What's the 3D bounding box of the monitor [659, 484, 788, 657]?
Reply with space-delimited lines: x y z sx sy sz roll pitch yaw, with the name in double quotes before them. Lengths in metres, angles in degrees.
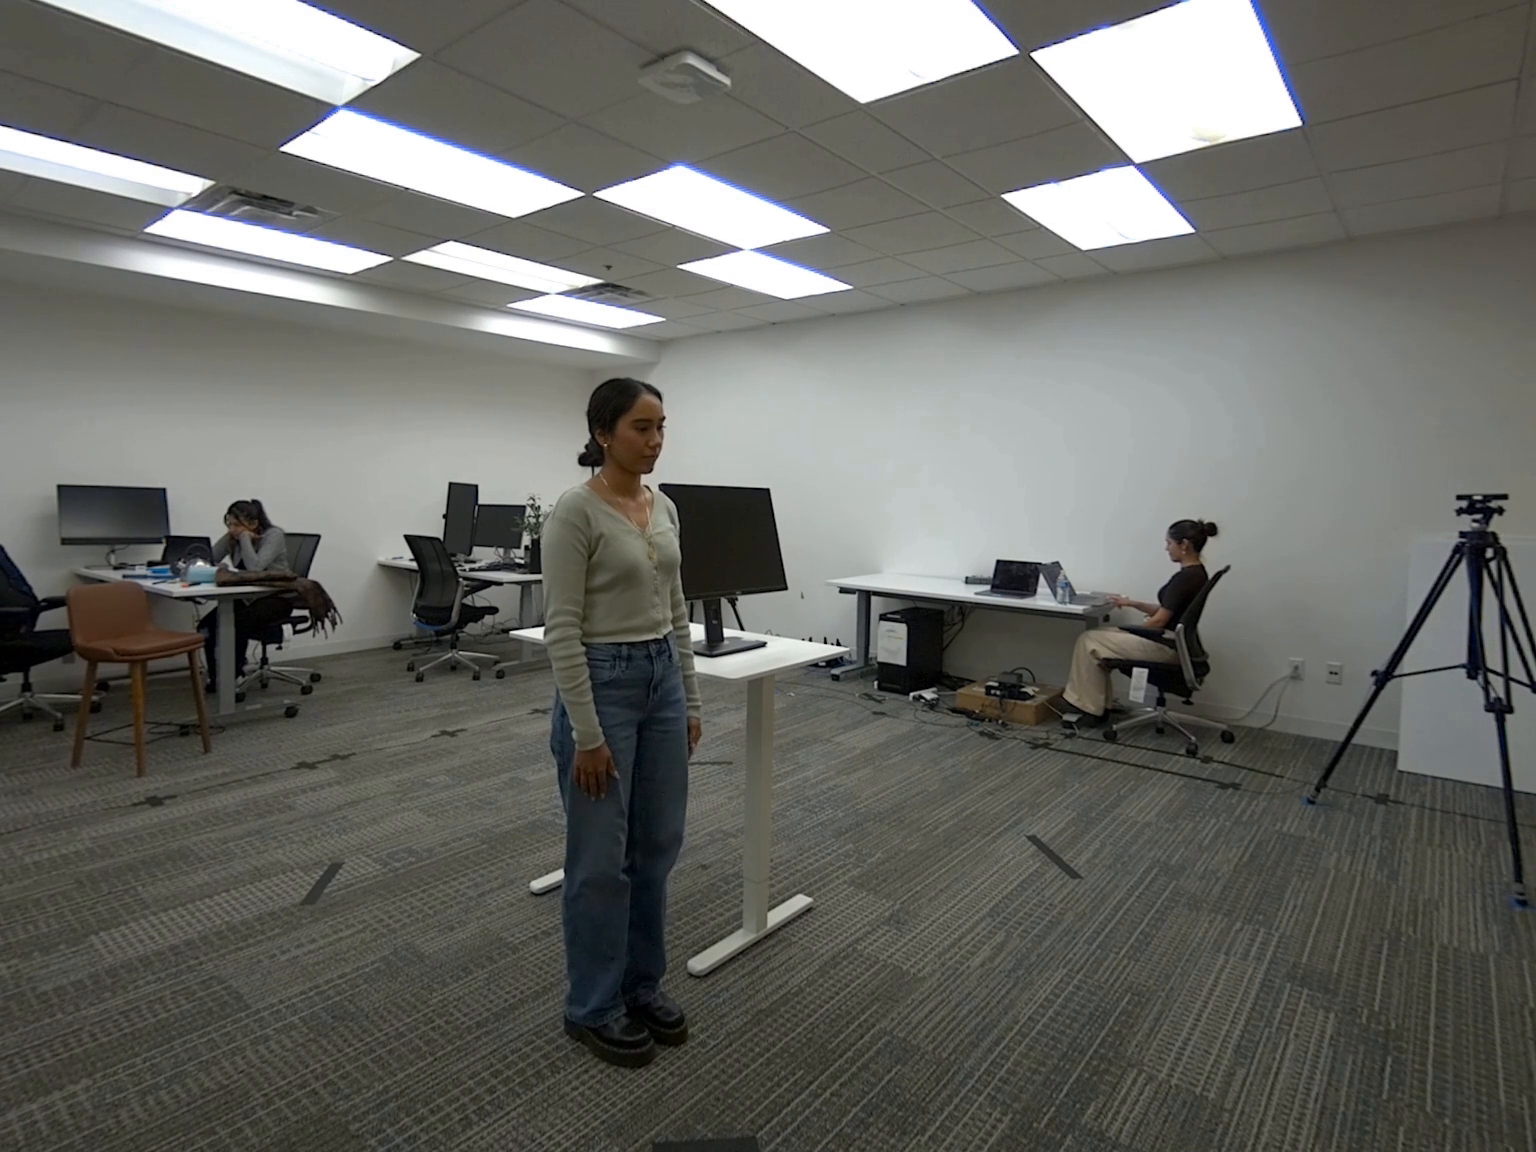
"monitor" -0.160 -0.024 2.695 0.193 0.522 0.523 0 2 37
